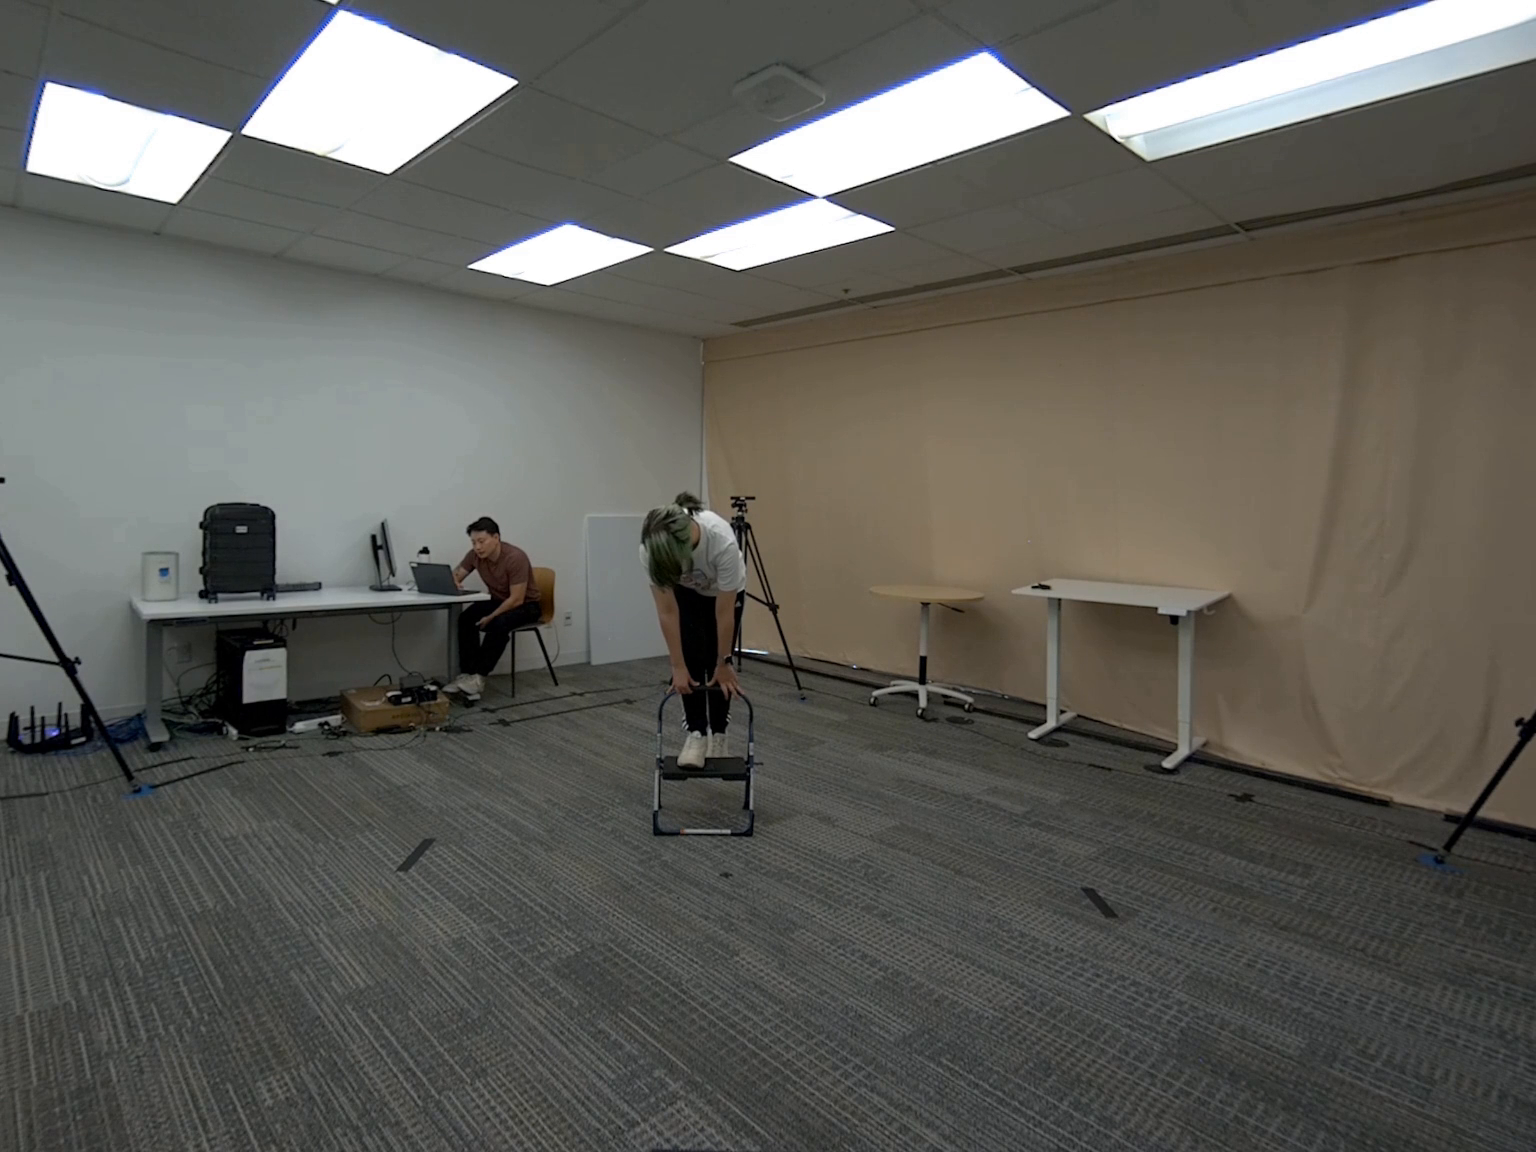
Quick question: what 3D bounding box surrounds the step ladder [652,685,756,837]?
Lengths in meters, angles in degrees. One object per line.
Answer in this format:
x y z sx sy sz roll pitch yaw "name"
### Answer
-0.280 0.759 3.614 0.429 0.605 0.351 2 3 -4 "step ladder"
